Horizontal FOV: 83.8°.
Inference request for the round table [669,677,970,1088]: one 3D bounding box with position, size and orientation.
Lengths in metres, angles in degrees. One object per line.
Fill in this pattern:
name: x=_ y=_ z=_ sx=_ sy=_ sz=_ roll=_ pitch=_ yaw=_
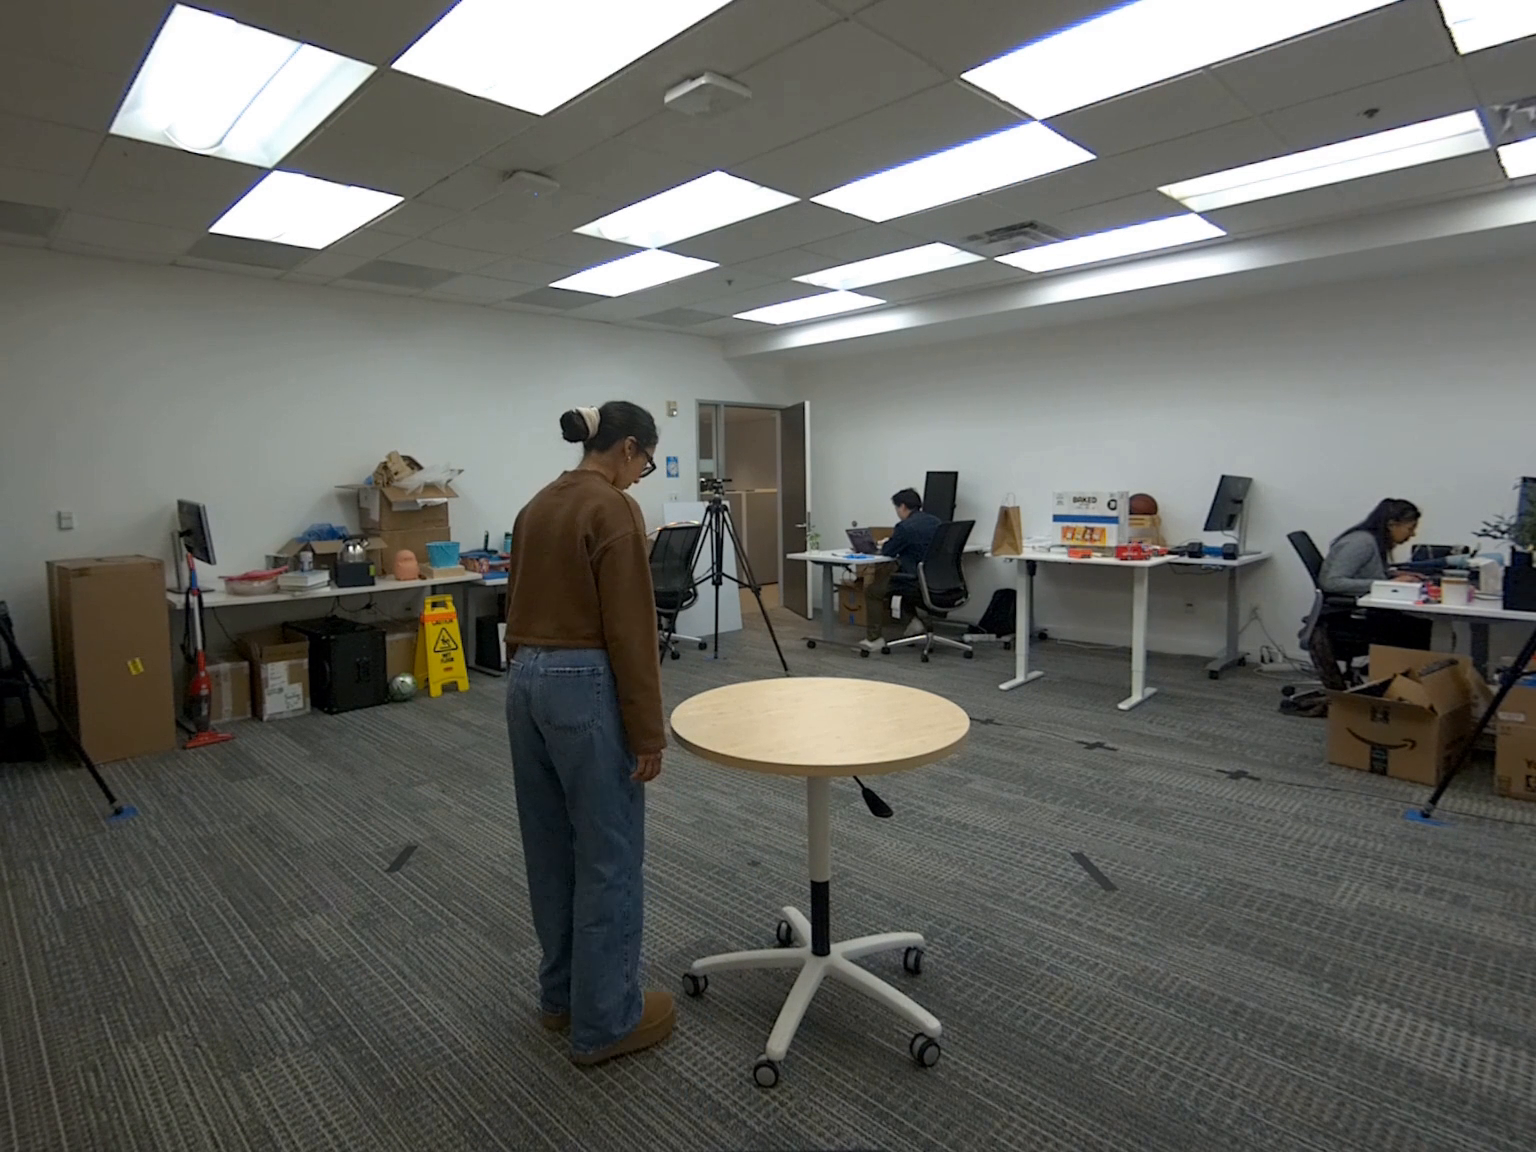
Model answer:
round table: x=0.148 y=0.753 z=2.249 sx=0.763 sy=0.790 sz=0.768 roll=-1 pitch=6 yaw=-2
